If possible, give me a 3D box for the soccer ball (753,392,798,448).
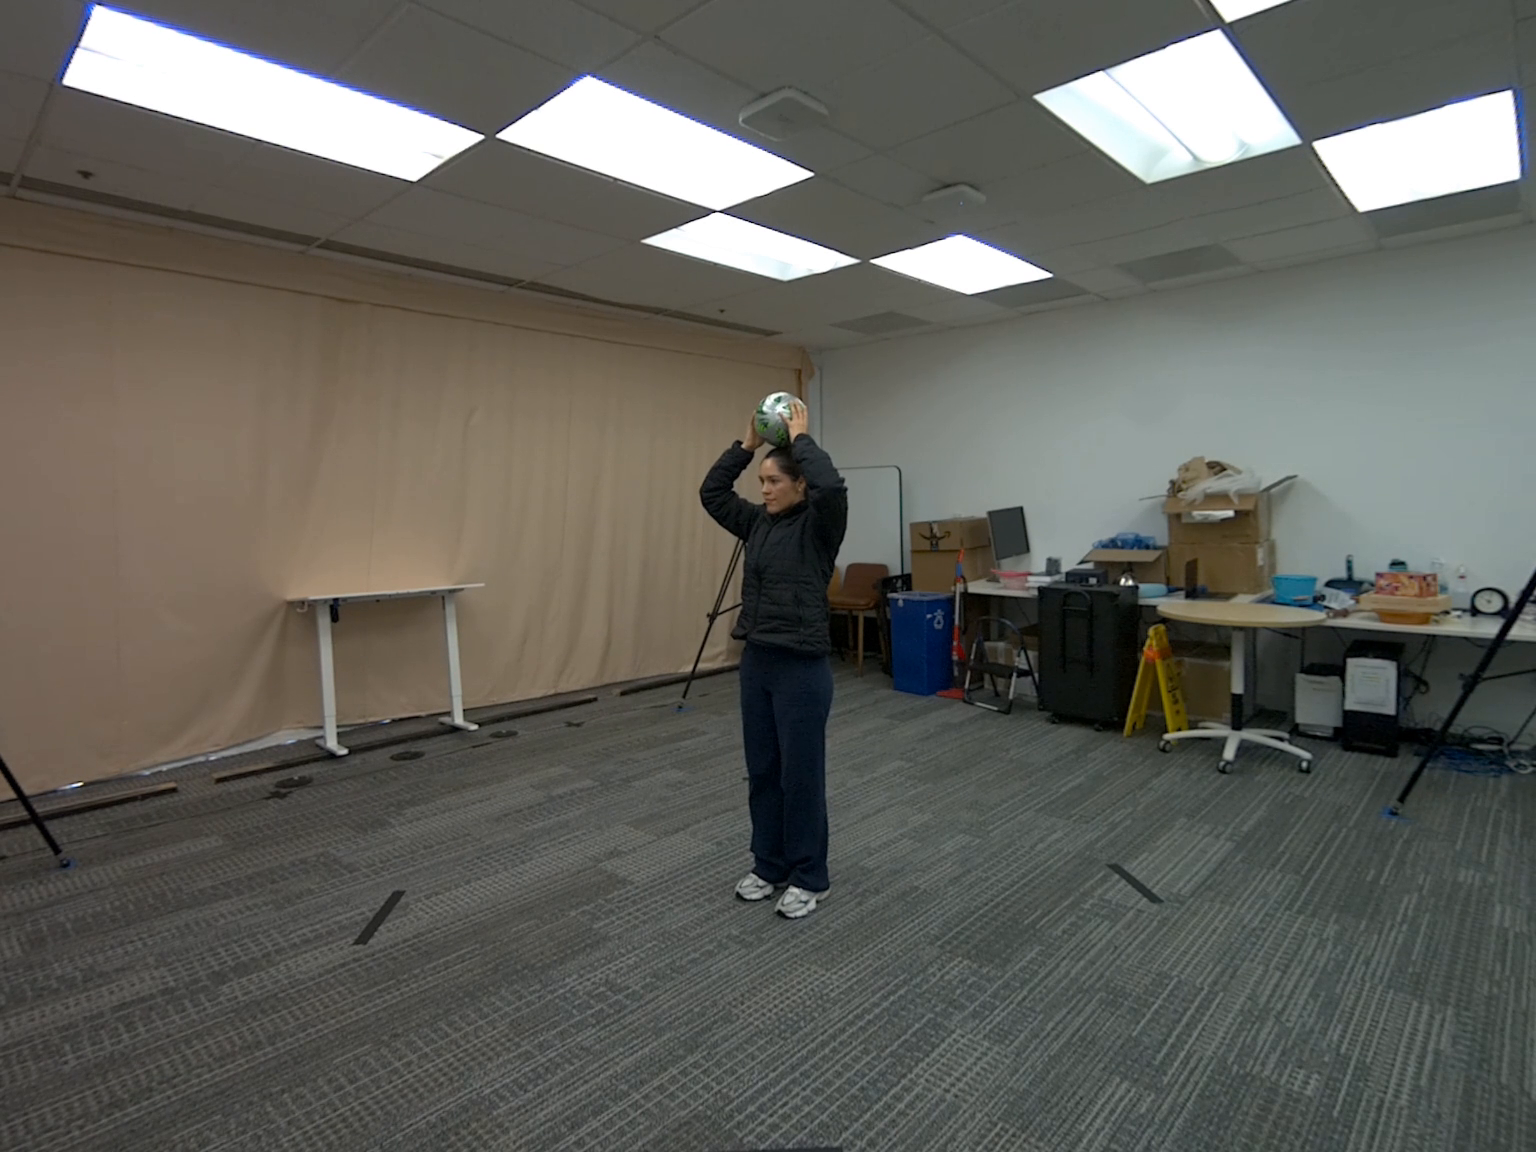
[{"bbox_3d":[0.042,-0.540,2.914,0.187,0.187,0.188,-1,4,-2],"label":"soccer ball"}]
